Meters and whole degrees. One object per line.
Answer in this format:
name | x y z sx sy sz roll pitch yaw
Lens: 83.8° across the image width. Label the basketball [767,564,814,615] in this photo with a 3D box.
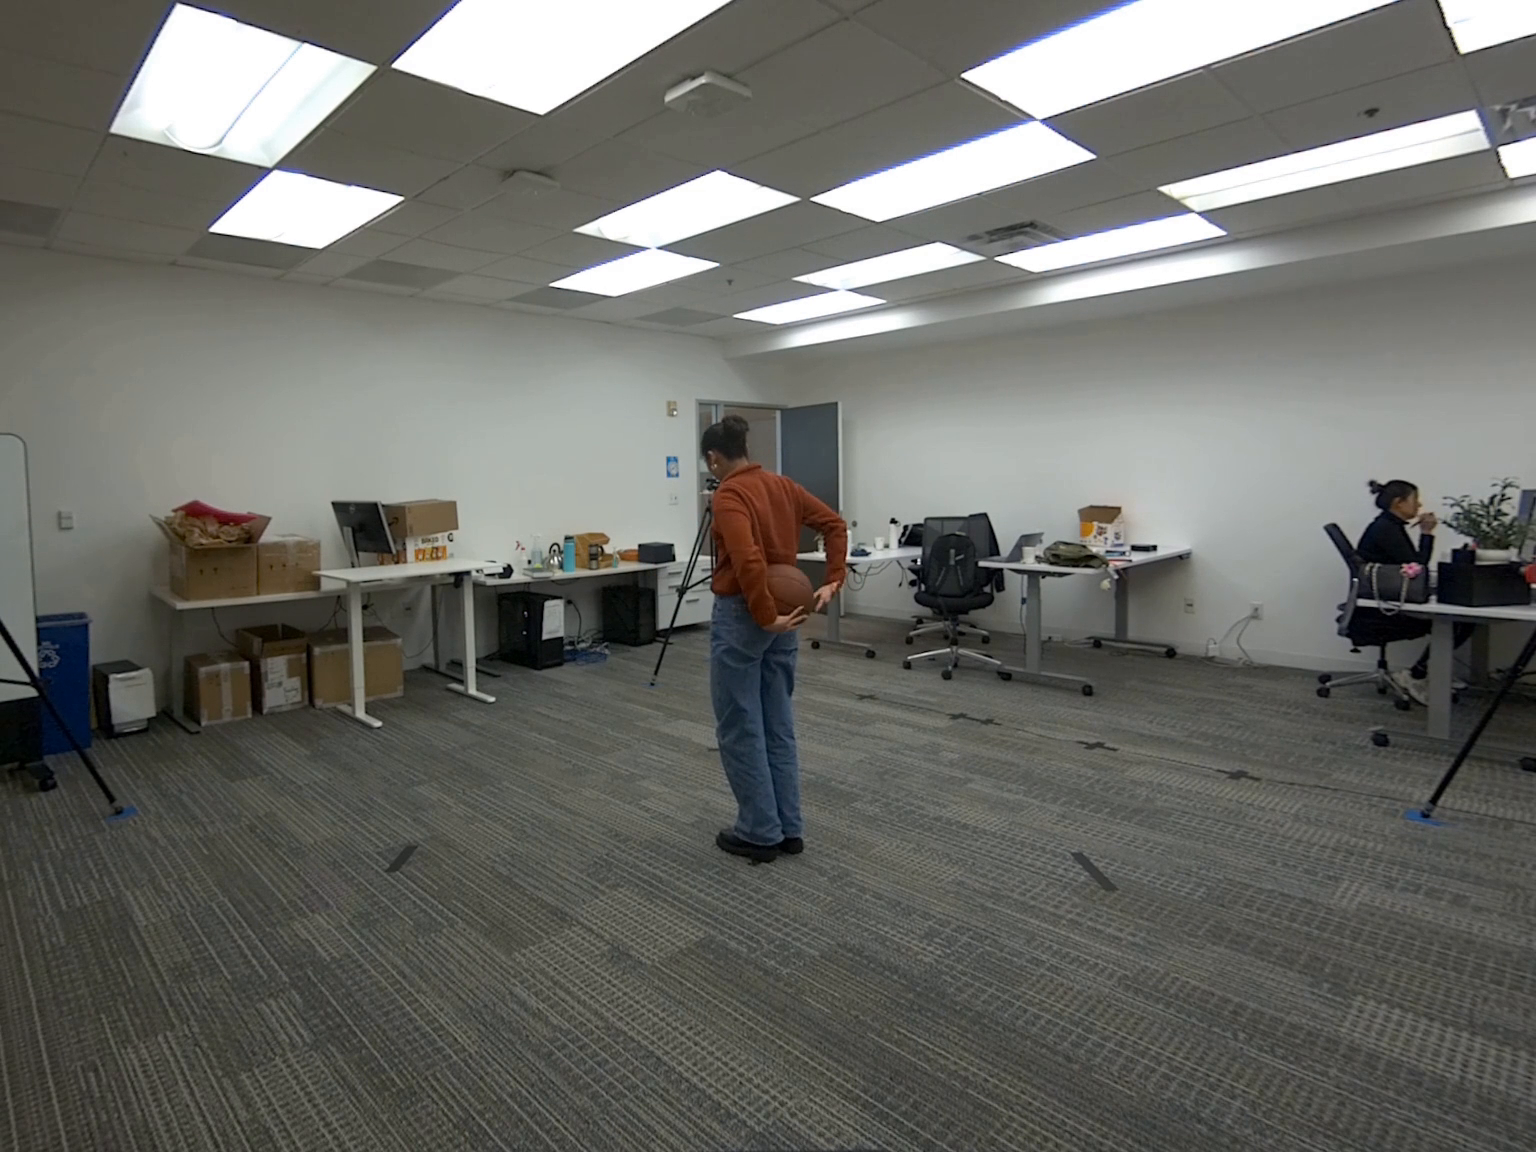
basketball | 0.036 0.070 3.006 0.236 0.235 0.237 -1 5 -2
